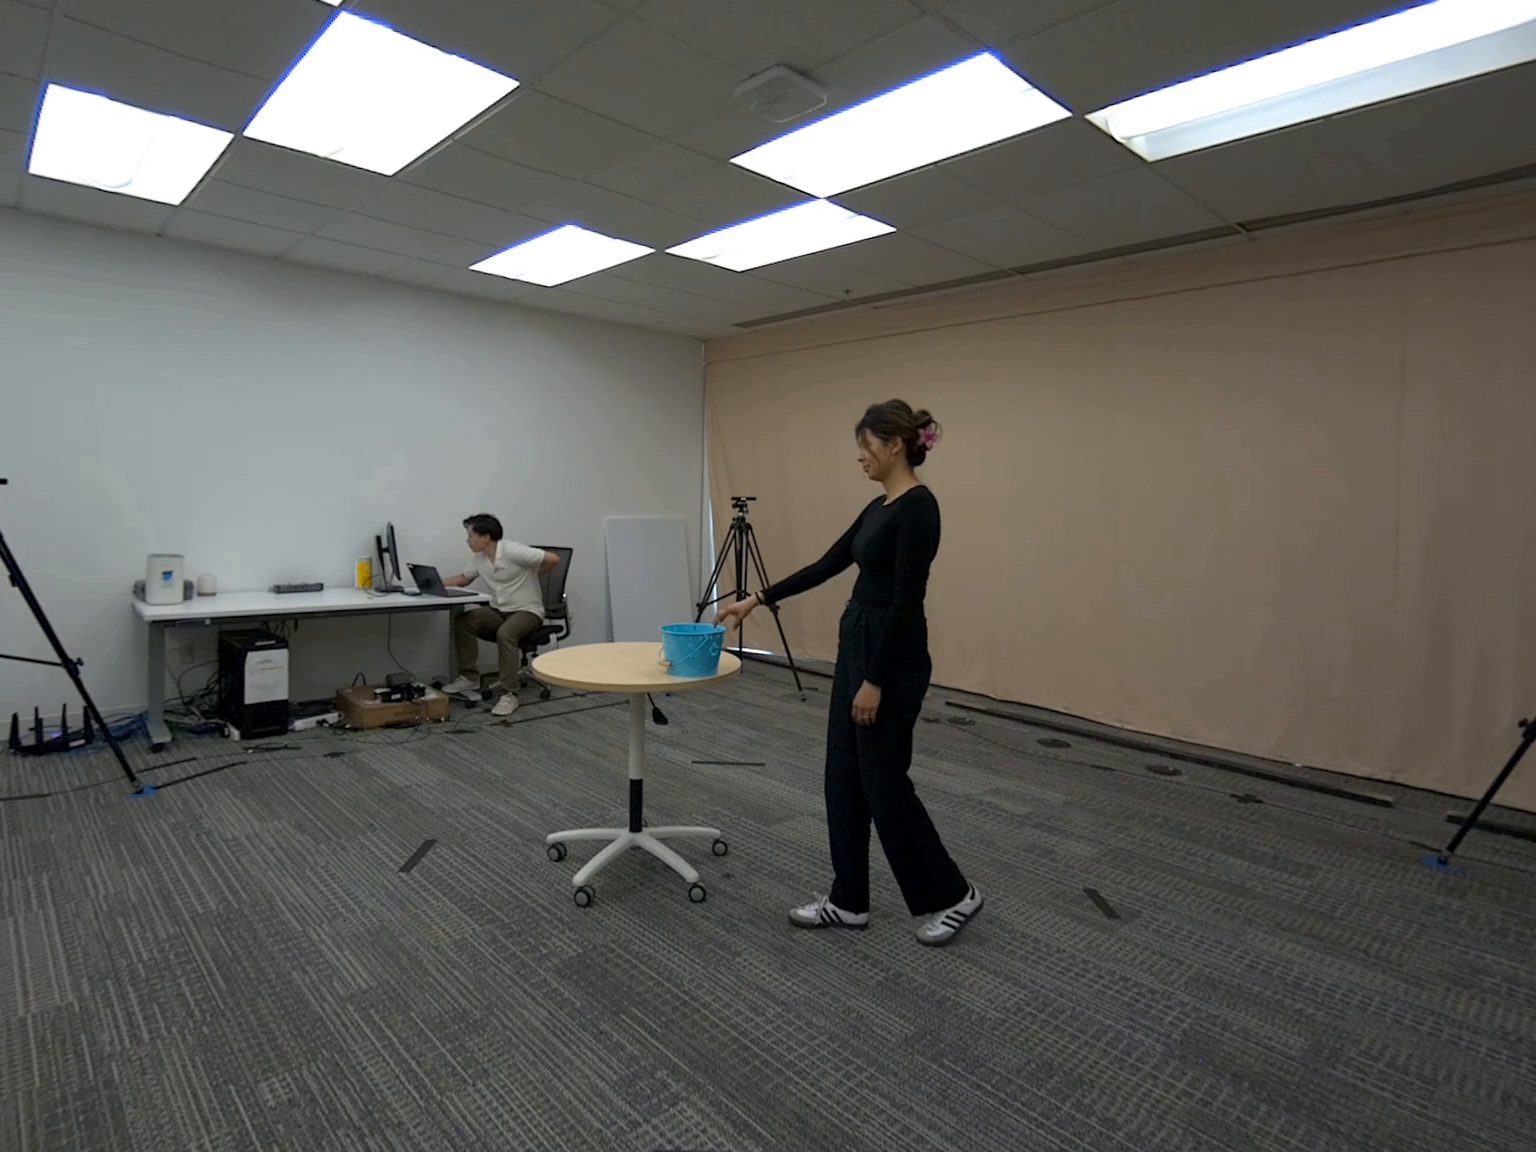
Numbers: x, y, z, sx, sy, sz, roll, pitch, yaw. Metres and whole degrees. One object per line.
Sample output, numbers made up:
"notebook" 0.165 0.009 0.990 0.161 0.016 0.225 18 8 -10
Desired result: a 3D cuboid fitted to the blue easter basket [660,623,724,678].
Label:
"blue easter basket" -0.279 0.264 2.947 0.243 0.155 0.244 3 3 -1
